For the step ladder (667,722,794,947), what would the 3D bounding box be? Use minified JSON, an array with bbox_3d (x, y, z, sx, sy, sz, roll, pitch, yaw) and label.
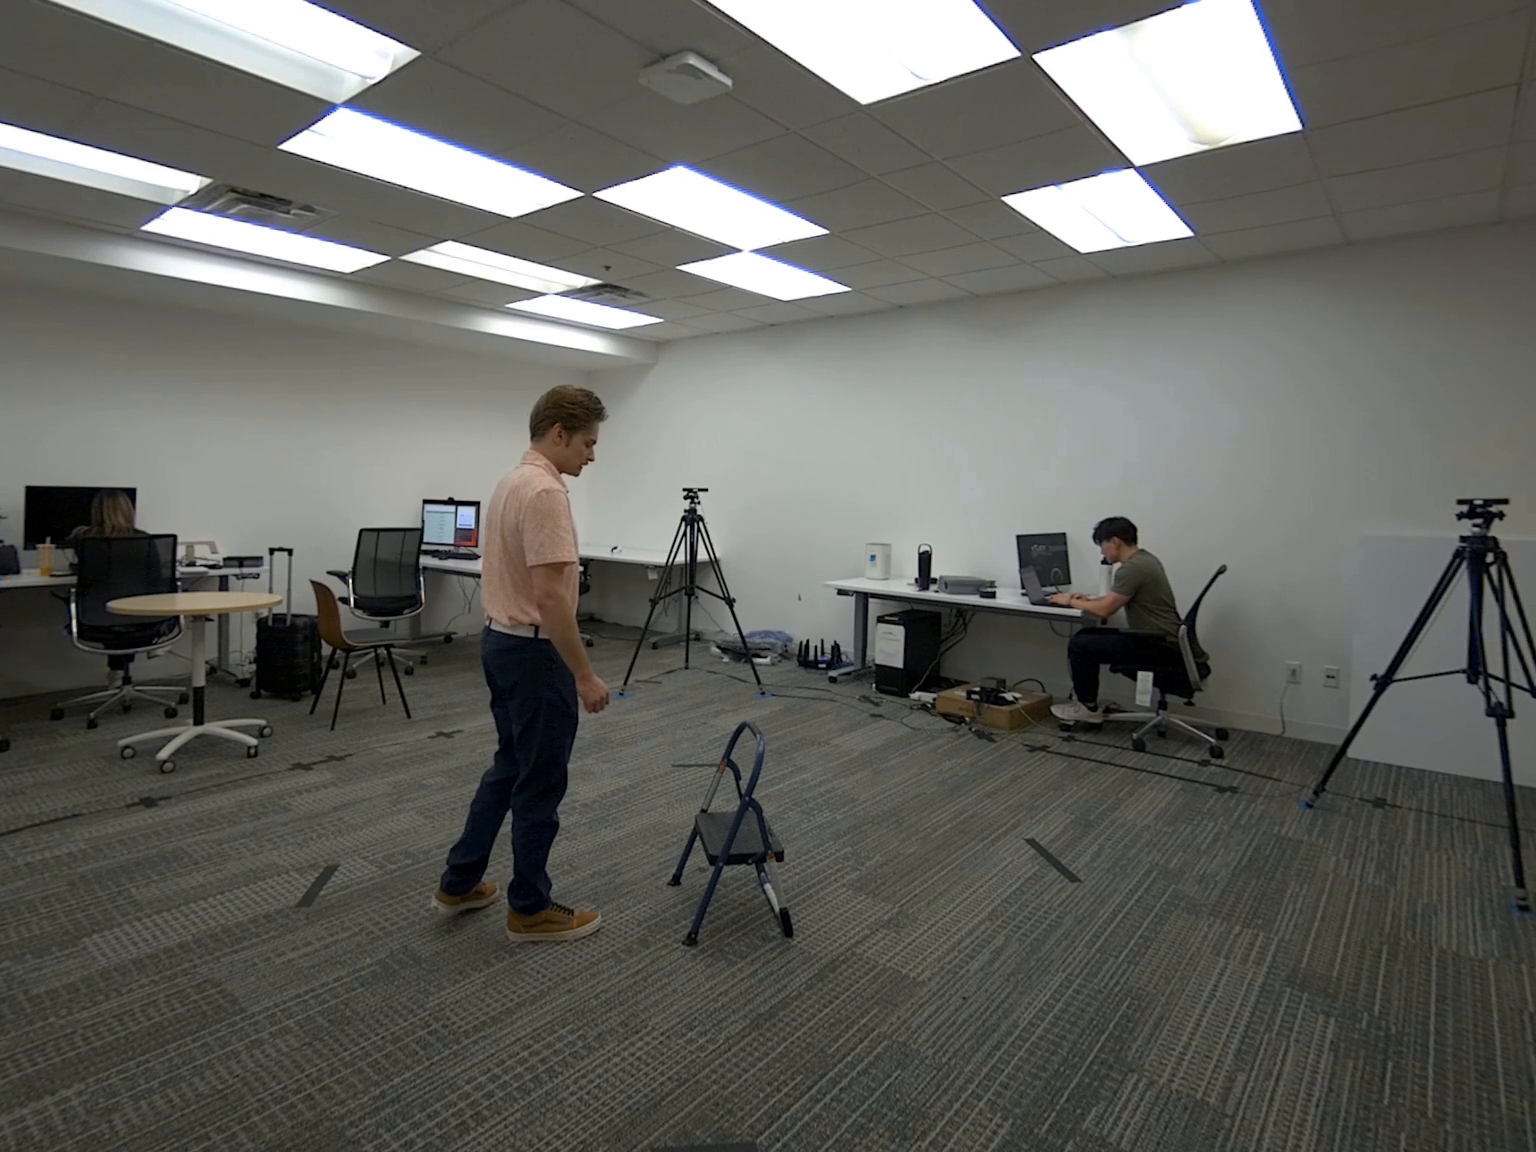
[{"bbox_3d":[-0.133,0.804,2.802,0.345,0.604,0.438,0,4,-13],"label":"step ladder"}]
